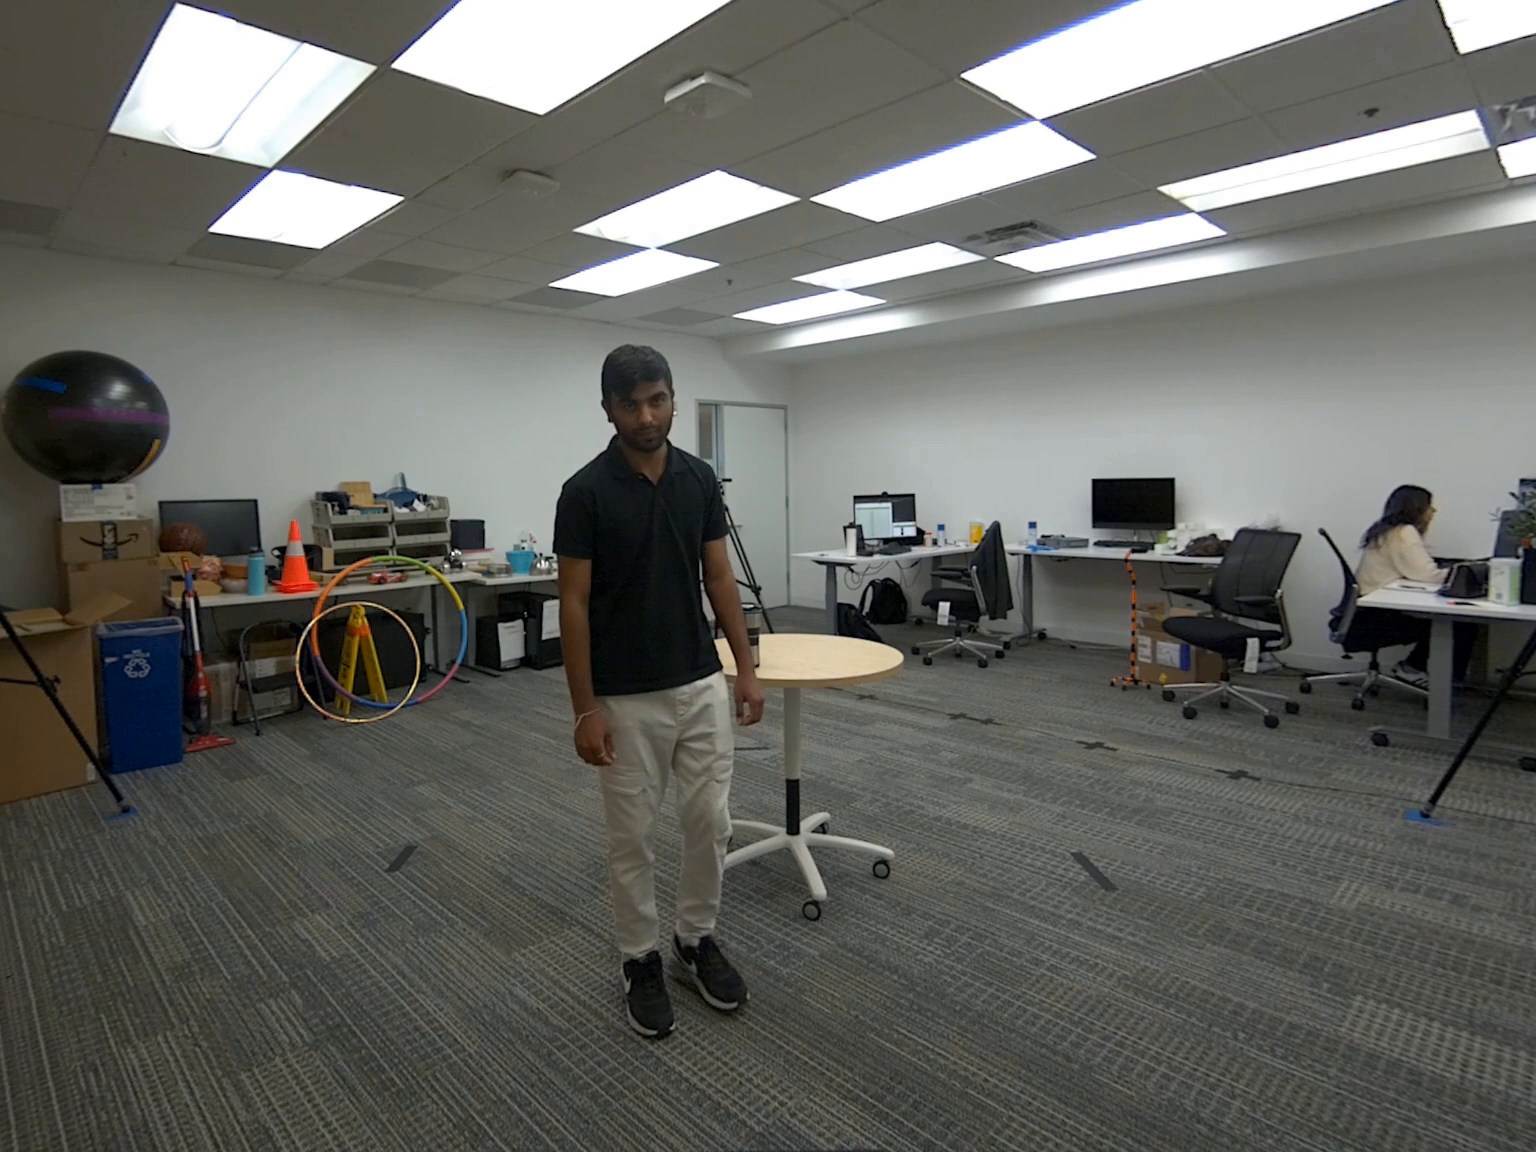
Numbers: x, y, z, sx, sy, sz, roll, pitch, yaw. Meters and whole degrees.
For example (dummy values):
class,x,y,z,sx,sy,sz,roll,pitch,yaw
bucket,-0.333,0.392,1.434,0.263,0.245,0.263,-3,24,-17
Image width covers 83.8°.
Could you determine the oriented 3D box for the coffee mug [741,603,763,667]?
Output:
class,x,y,z,sx,sy,sz,roll,pitch,yaw
coffee mug,-0.074,0.195,2.797,0.126,0.202,0.086,6,9,35
